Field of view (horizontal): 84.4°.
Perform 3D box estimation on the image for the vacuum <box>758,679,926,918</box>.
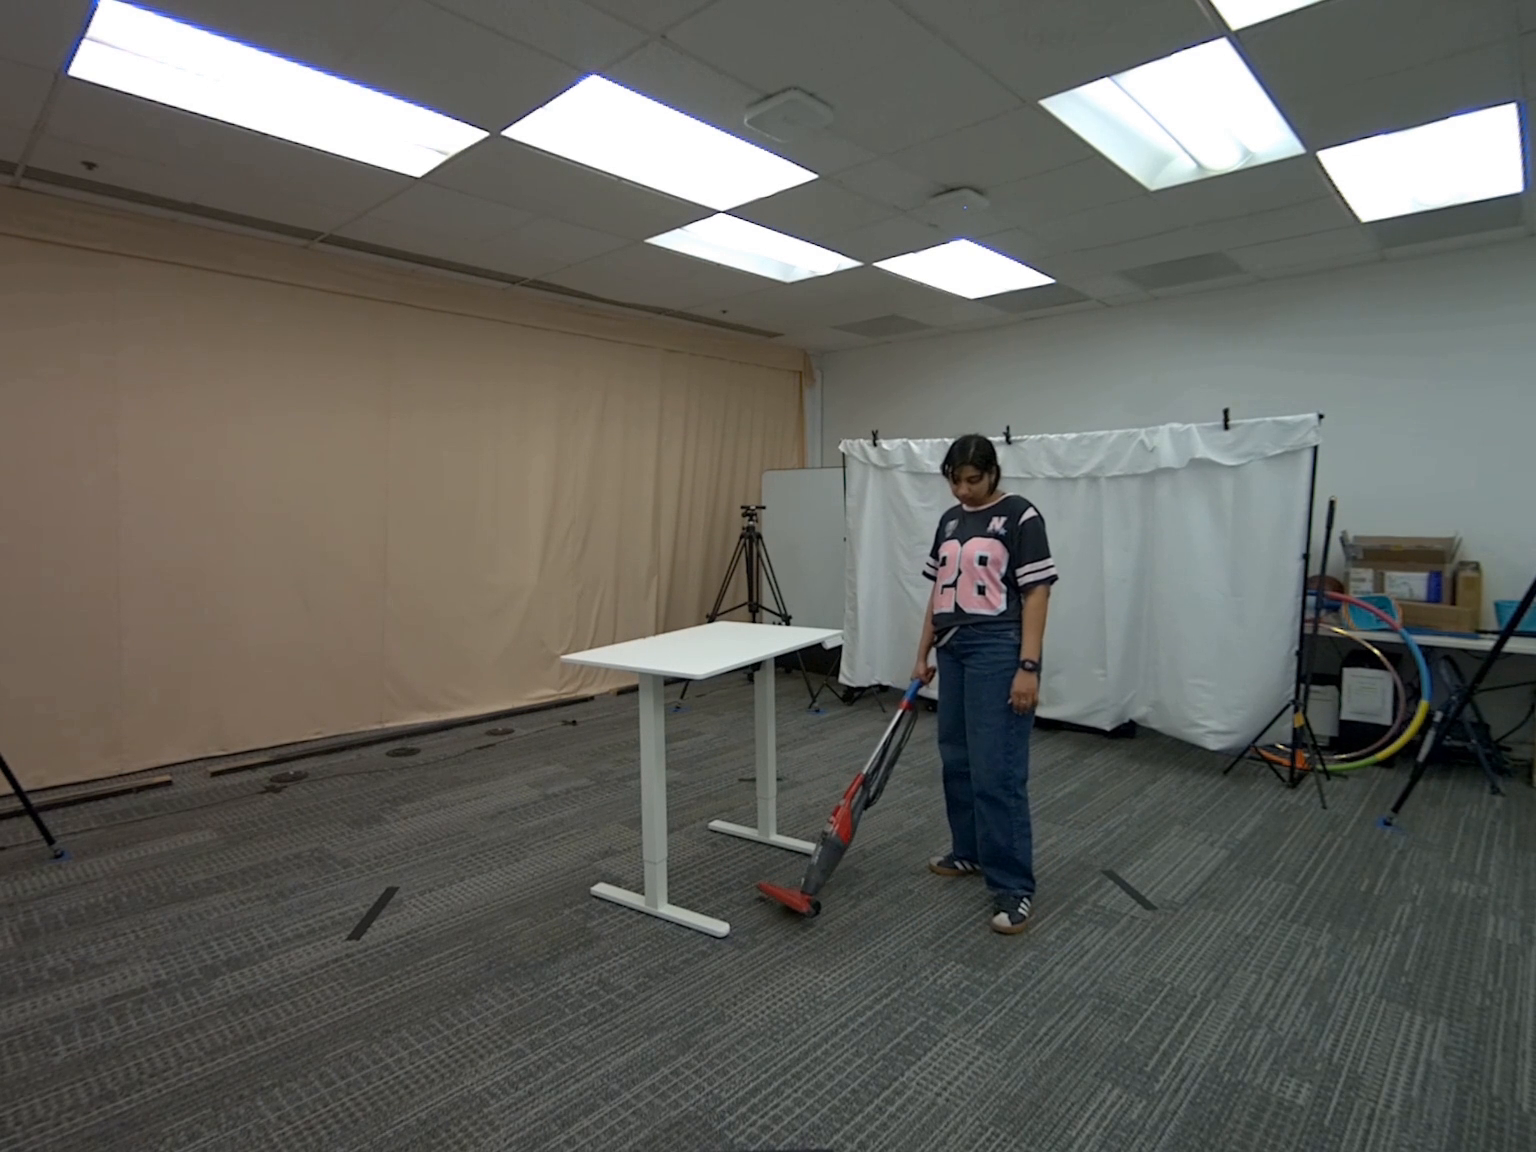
[{"bbox_3d":[0.379,0.752,3.096,0.261,0.140,1.044,7,50,48],"label":"vacuum"}]
